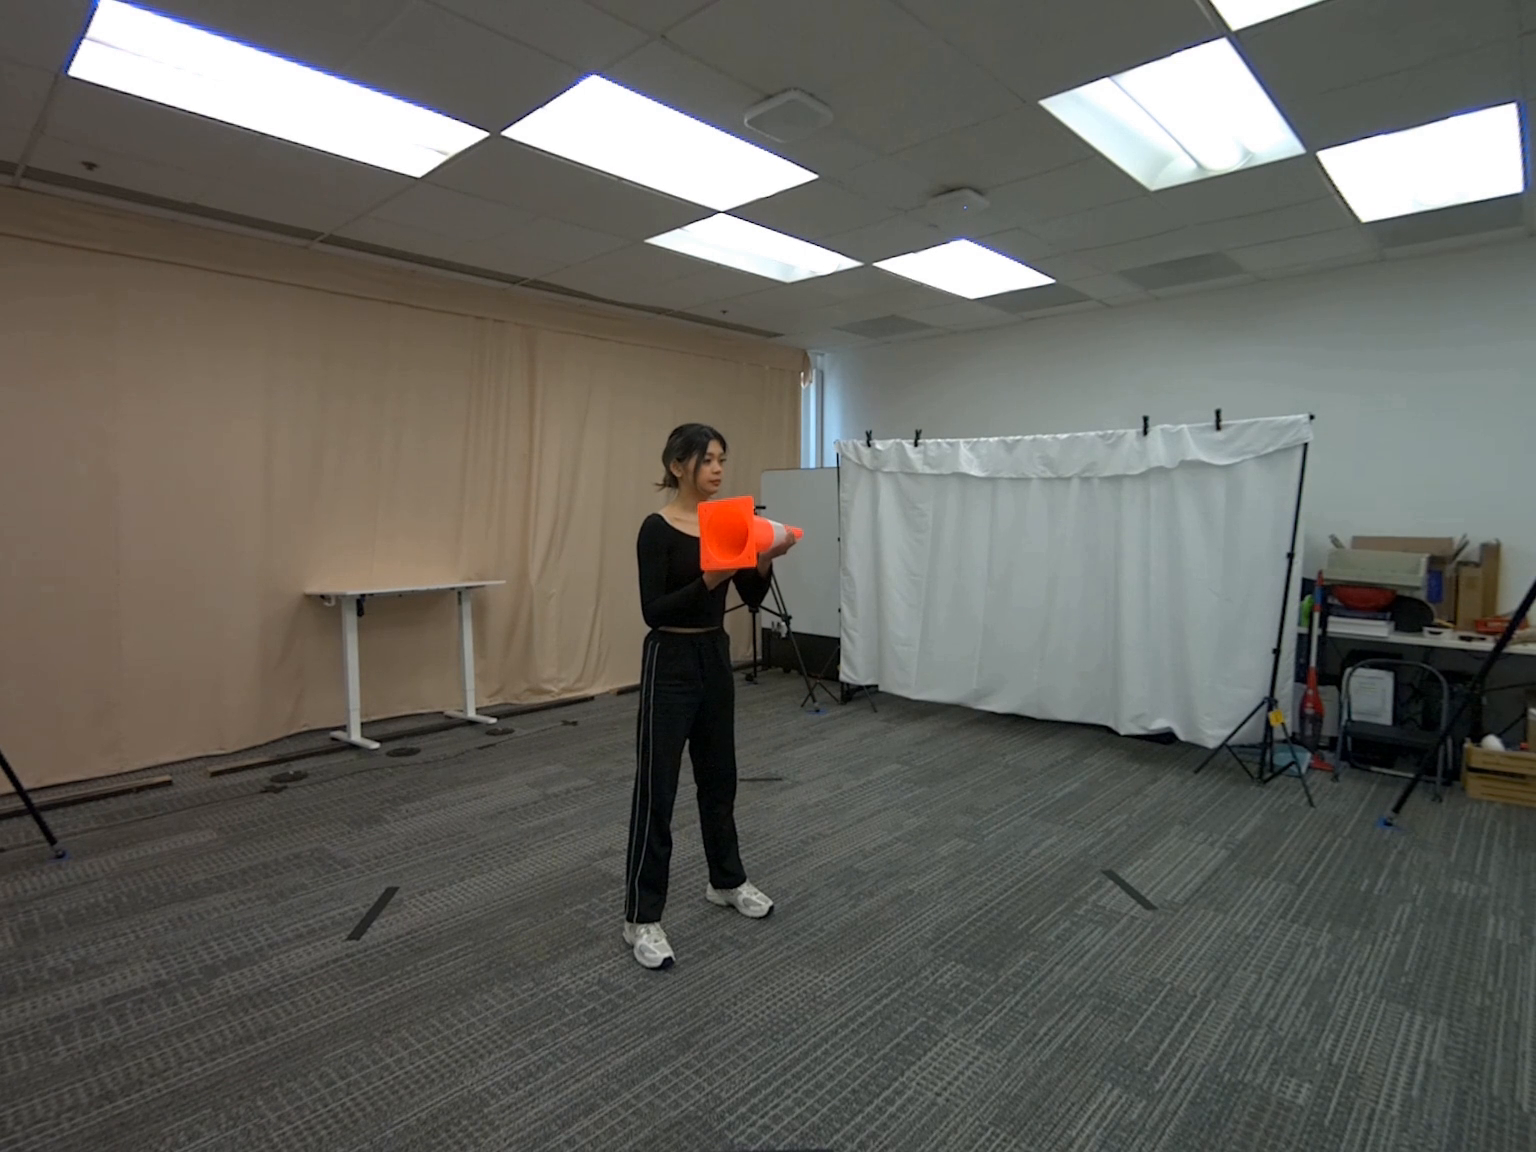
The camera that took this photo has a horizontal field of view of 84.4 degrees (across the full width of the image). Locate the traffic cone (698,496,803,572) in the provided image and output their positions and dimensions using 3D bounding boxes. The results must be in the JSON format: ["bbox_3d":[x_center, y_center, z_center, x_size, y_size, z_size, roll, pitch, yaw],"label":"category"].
[{"bbox_3d":[-0.013,-0.126,2.547,0.209,0.205,0.372,-5,-1,36],"label":"traffic cone"}]
